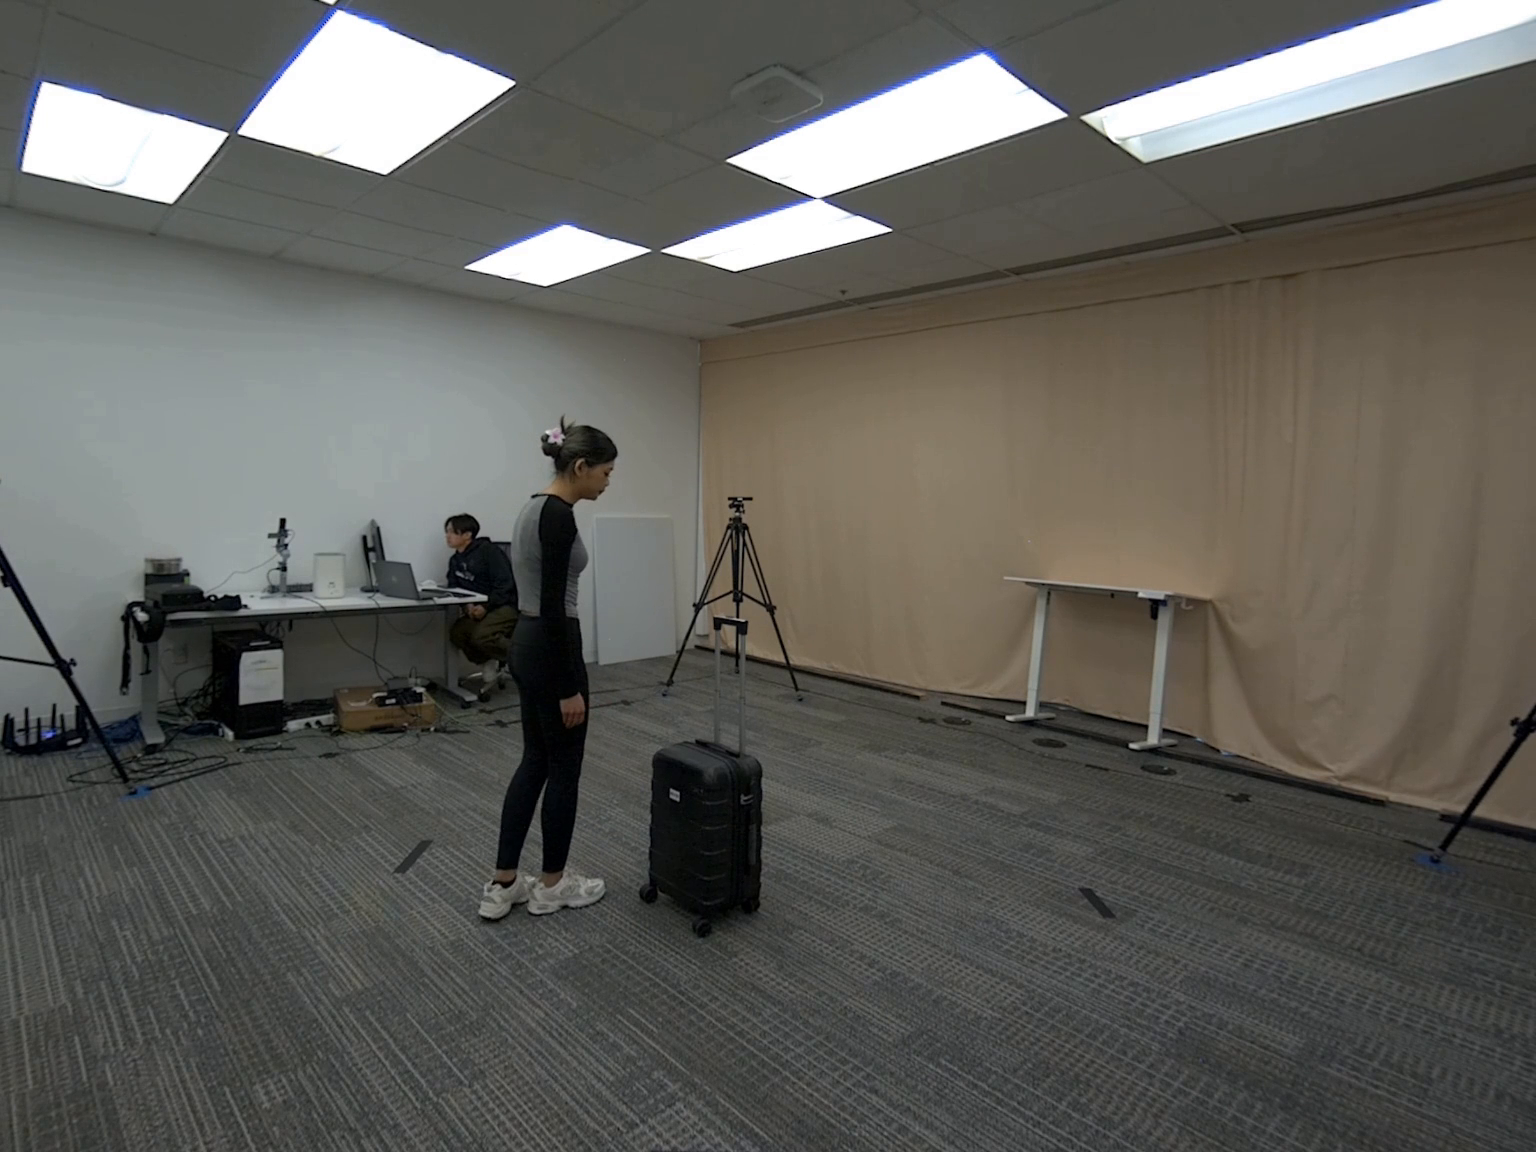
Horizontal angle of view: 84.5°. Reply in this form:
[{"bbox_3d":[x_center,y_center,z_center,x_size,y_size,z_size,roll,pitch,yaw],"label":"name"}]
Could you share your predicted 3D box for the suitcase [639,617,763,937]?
[{"bbox_3d":[-0.218,0.648,2.839,0.394,0.975,0.251,4,6,42],"label":"suitcase"}]
